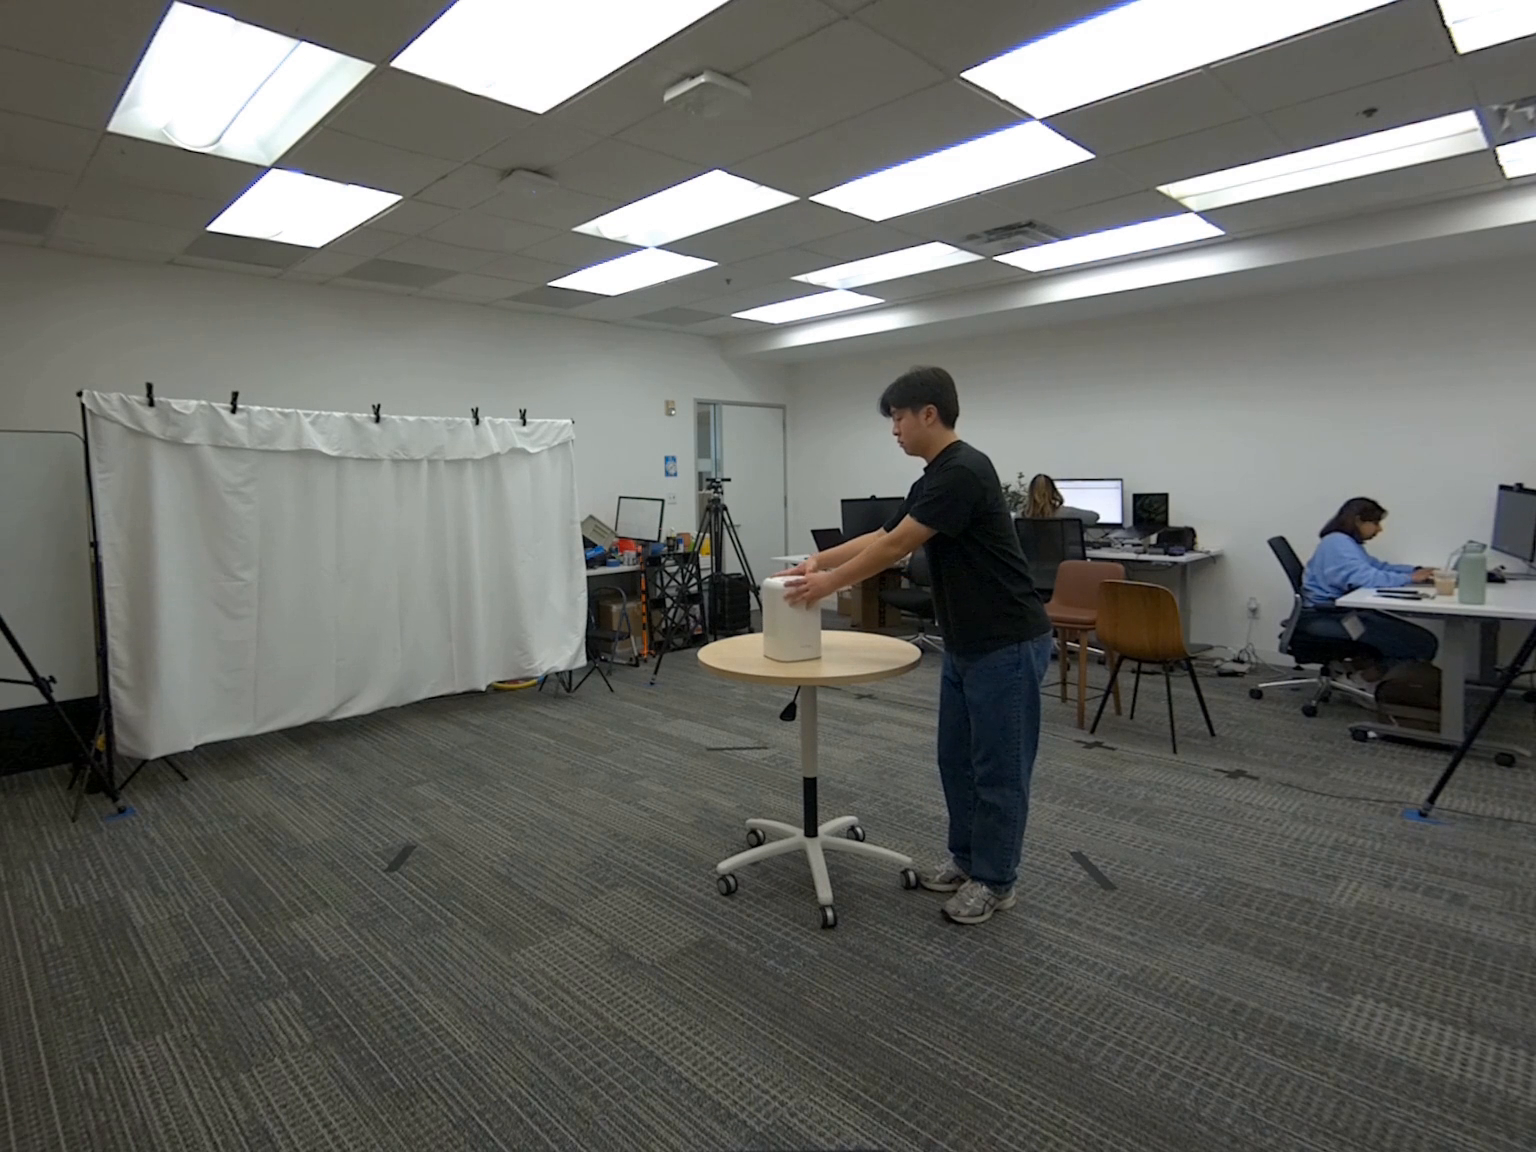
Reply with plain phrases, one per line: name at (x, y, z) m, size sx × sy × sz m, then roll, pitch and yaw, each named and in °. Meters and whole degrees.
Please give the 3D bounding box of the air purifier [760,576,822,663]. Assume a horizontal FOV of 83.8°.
air purifier at (0.085, 0.137, 2.875) m, size 0.168 × 0.264 × 0.176 m, roll -4°, pitch 6°, yaw -22°
